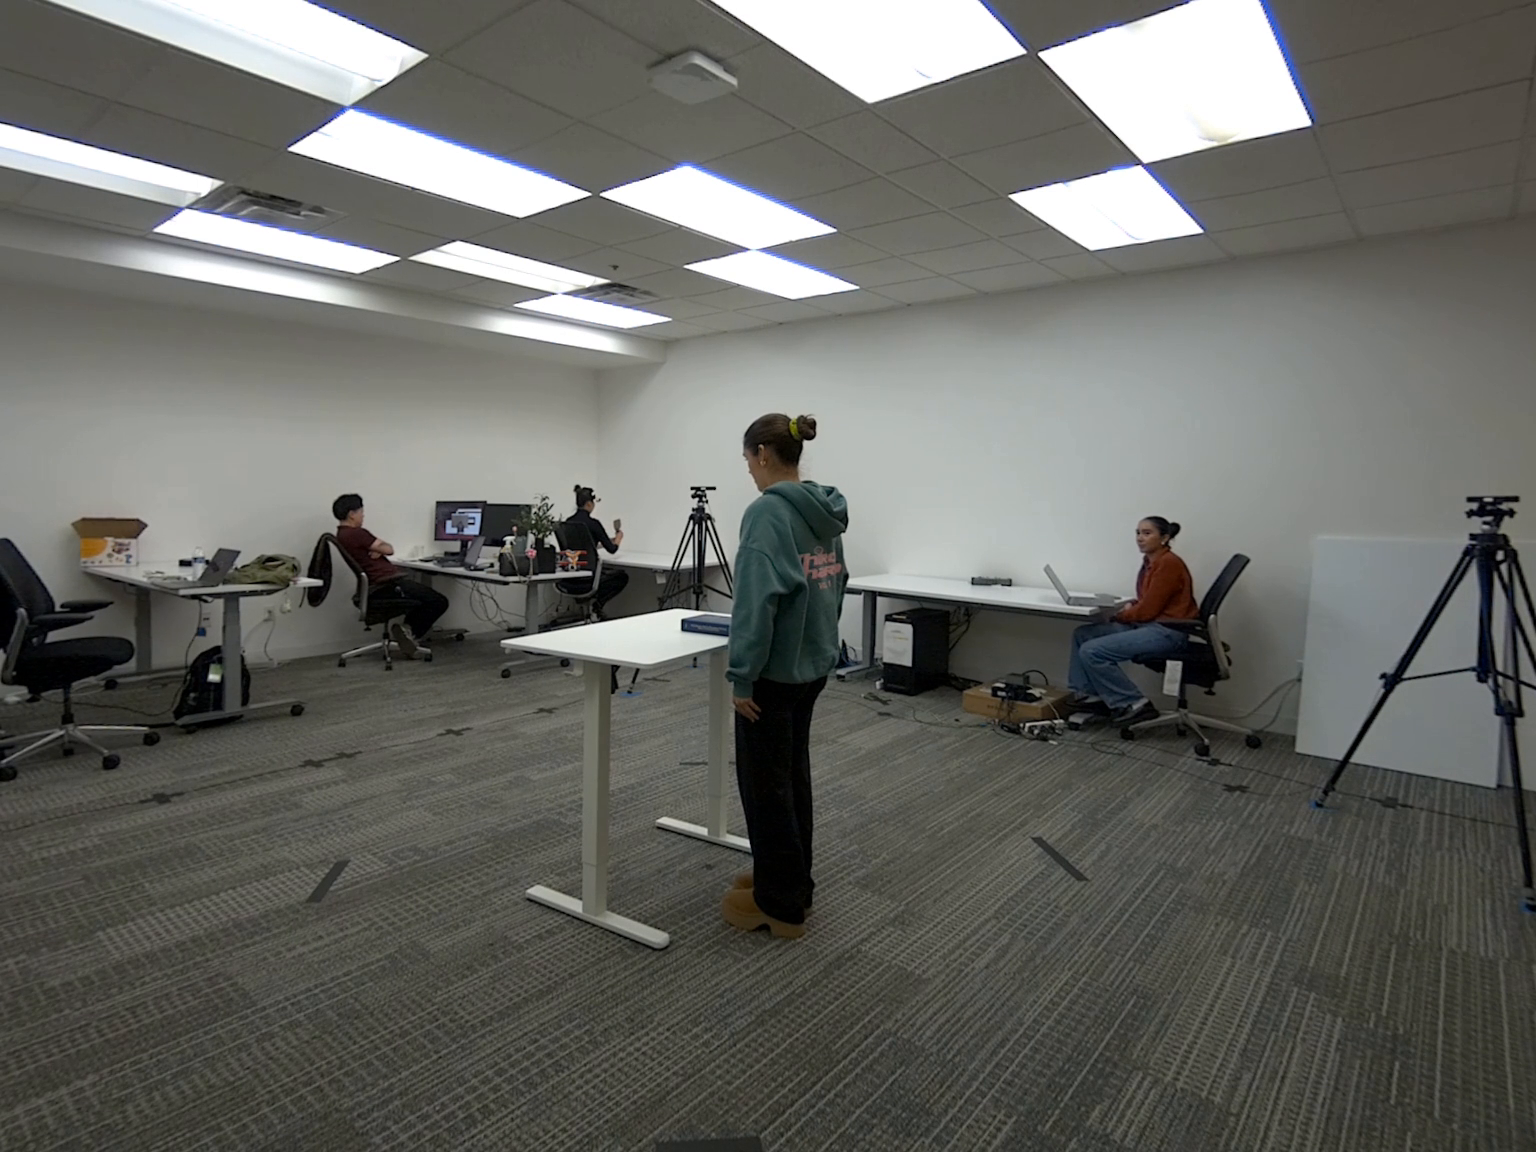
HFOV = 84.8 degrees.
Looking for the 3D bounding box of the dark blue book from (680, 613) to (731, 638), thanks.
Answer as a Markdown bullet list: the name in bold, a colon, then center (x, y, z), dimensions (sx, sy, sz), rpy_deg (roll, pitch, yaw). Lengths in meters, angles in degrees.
- **dark blue book**: center (-0.176, 0.174, 3.006), dimensions (0.252, 0.045, 0.159), rpy_deg (4, 6, 28)
